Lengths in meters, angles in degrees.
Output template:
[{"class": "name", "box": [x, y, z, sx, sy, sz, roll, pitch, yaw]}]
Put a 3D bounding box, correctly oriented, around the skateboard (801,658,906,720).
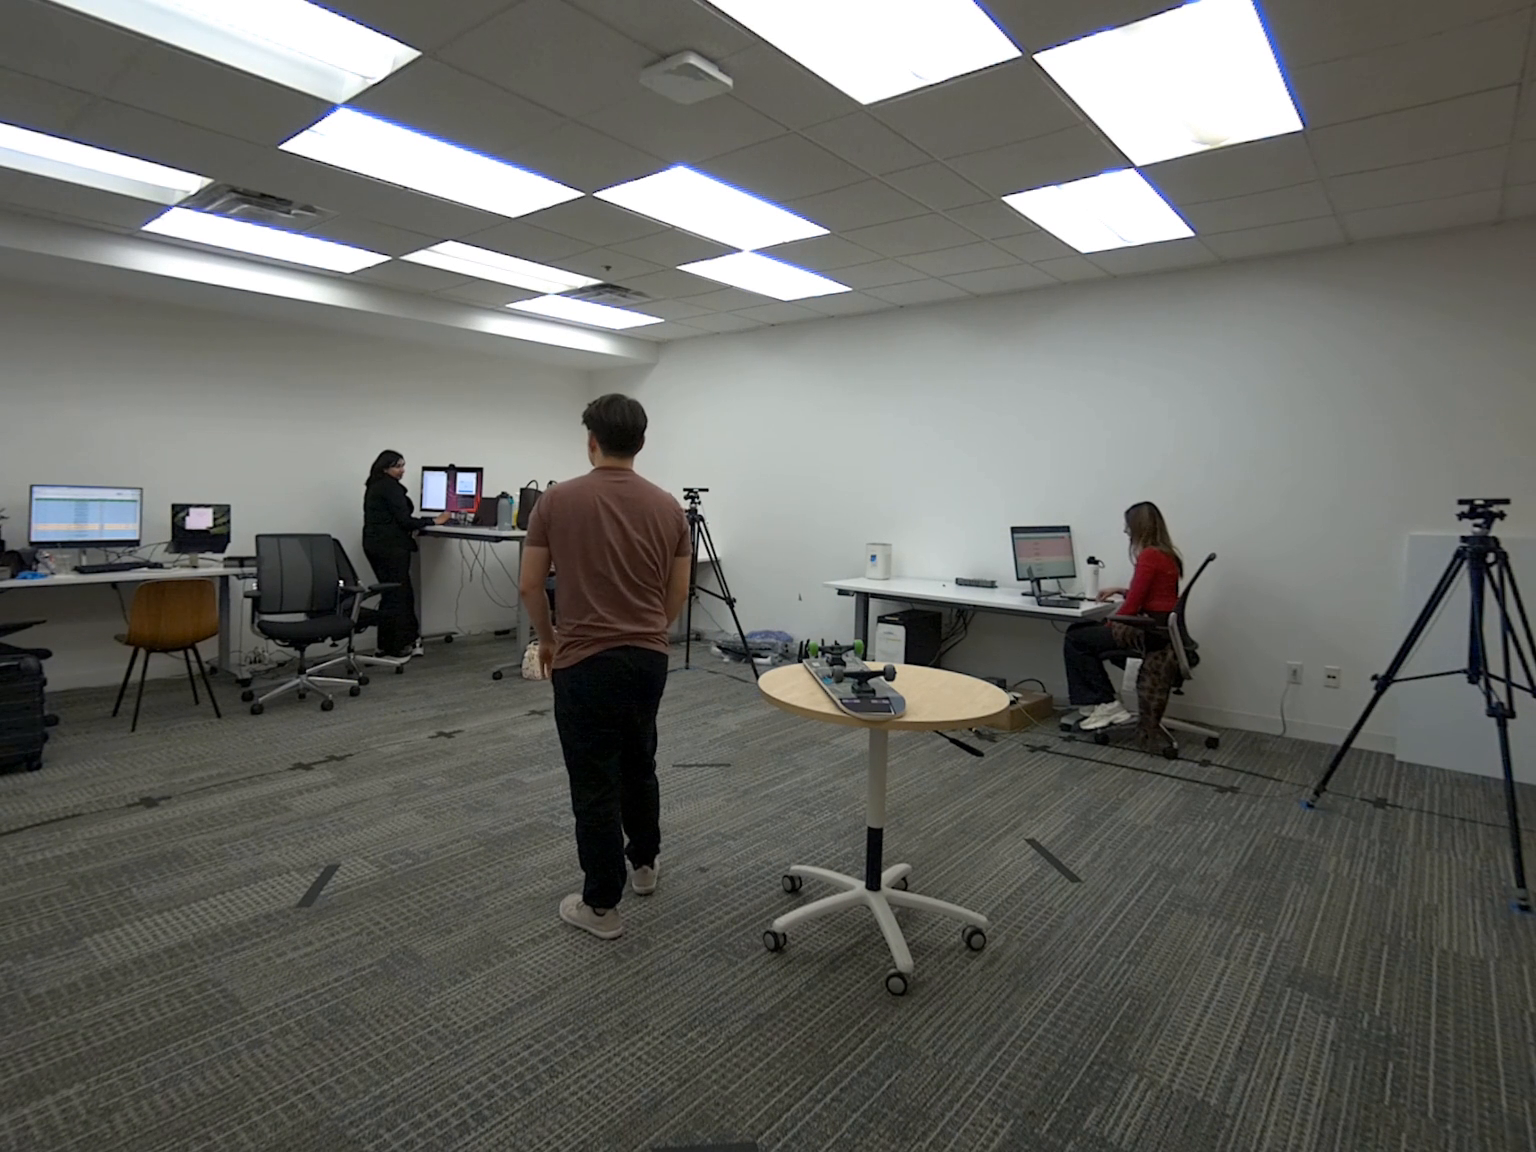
[{"class": "skateboard", "box": [0.246, 0.298, 2.654, 0.192, 0.110, 0.793, -1, 6, -7]}]
